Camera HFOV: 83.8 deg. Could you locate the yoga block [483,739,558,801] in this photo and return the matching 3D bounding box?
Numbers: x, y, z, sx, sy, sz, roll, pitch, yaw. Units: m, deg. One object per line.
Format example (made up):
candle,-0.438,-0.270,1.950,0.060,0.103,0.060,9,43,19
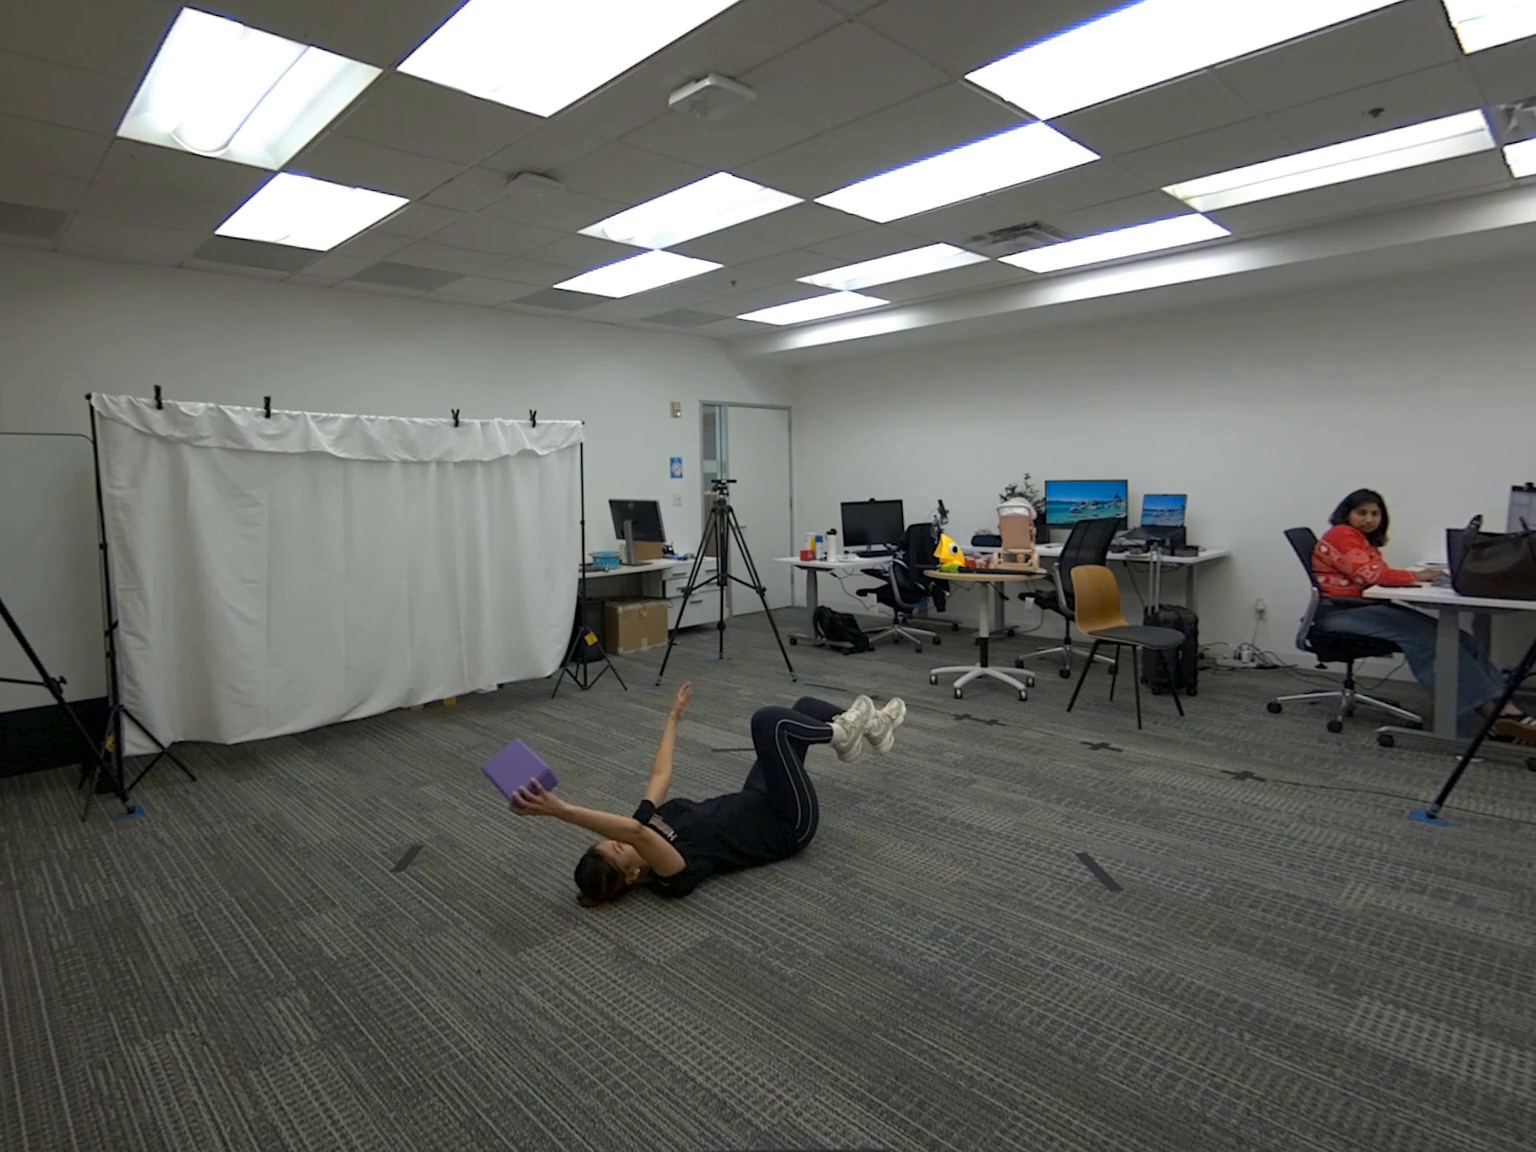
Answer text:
yoga block,-0.756,0.609,2.644,0.148,0.074,0.238,-40,38,-22
